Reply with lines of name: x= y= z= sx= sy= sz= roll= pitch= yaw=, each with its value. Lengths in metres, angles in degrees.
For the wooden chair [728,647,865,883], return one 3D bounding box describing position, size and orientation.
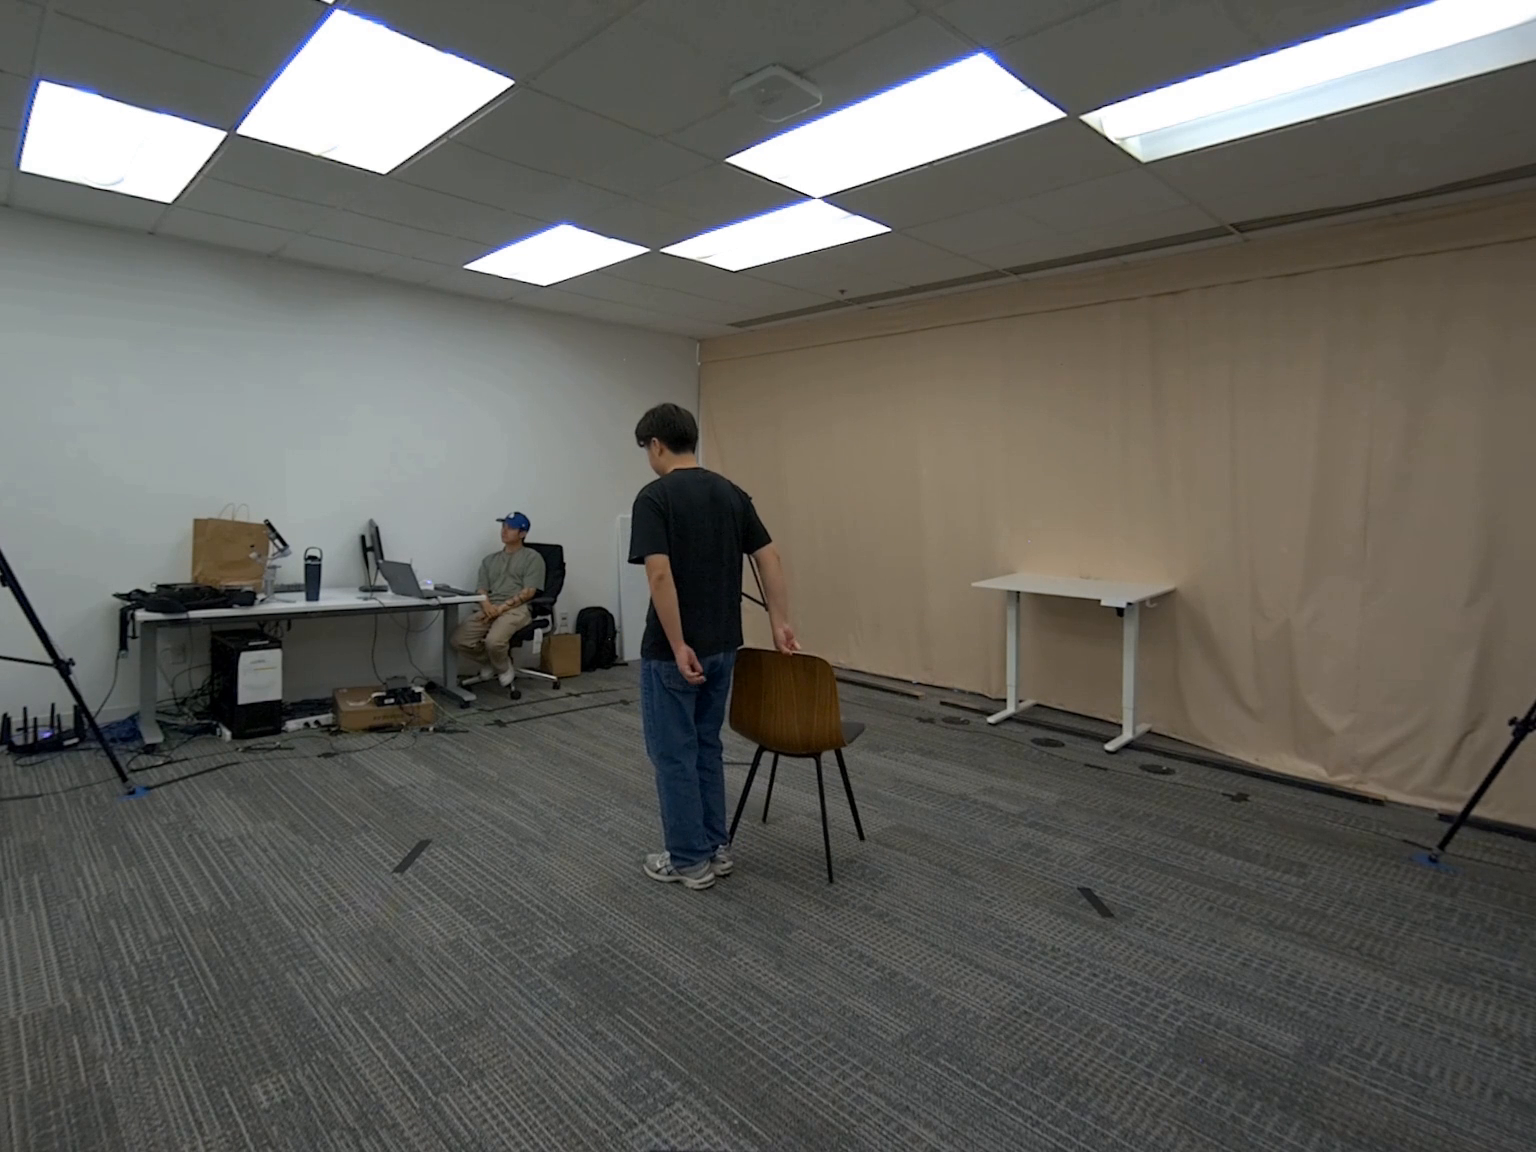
wooden chair: x=0.114 y=0.663 z=3.339 sx=0.487 sy=0.873 sz=0.516 roll=3 pitch=8 yaw=23
